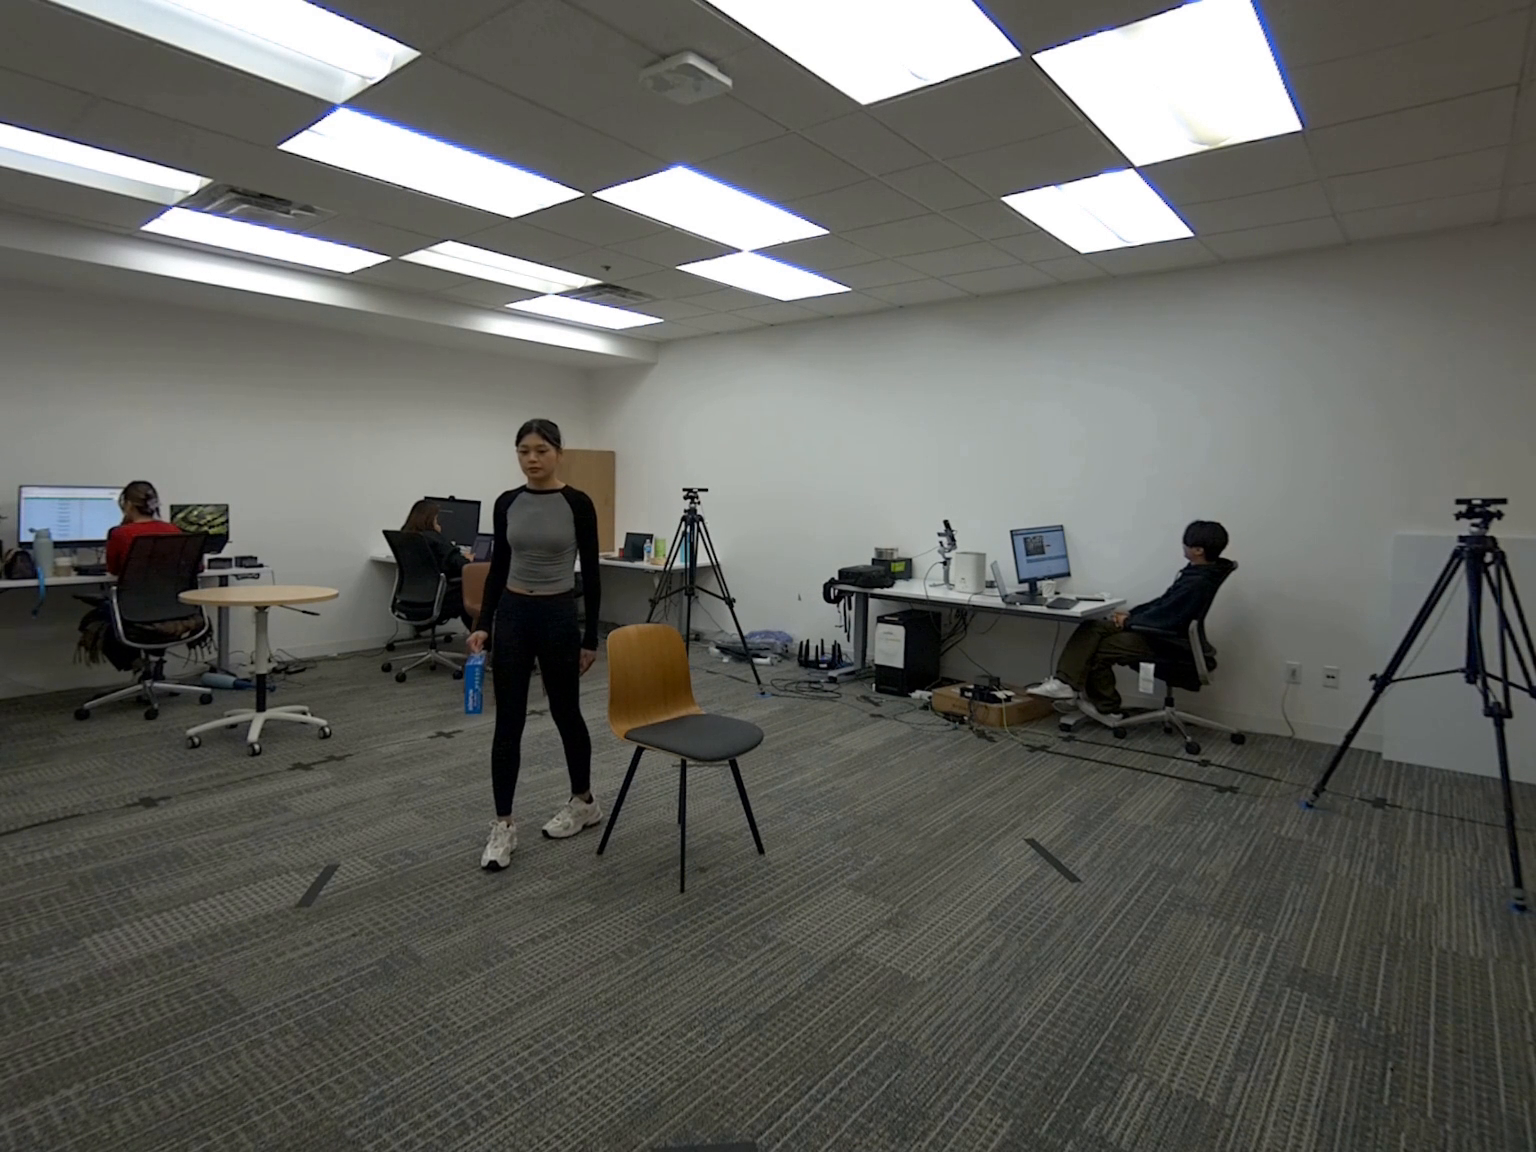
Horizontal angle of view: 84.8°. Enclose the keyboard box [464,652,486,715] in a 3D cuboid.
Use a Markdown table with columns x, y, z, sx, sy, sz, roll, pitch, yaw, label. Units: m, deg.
| x | y | z | sx | sy | sz | roll | pitch | yaw | label |
| --- | --- | --- | --- | --- | --- | --- | --- | --- | --- |
| -1.097 | 0.386 | 3.182 | 0.058 | 0.176 | 0.443 | 0 | 3 | -13 | keyboard box |
